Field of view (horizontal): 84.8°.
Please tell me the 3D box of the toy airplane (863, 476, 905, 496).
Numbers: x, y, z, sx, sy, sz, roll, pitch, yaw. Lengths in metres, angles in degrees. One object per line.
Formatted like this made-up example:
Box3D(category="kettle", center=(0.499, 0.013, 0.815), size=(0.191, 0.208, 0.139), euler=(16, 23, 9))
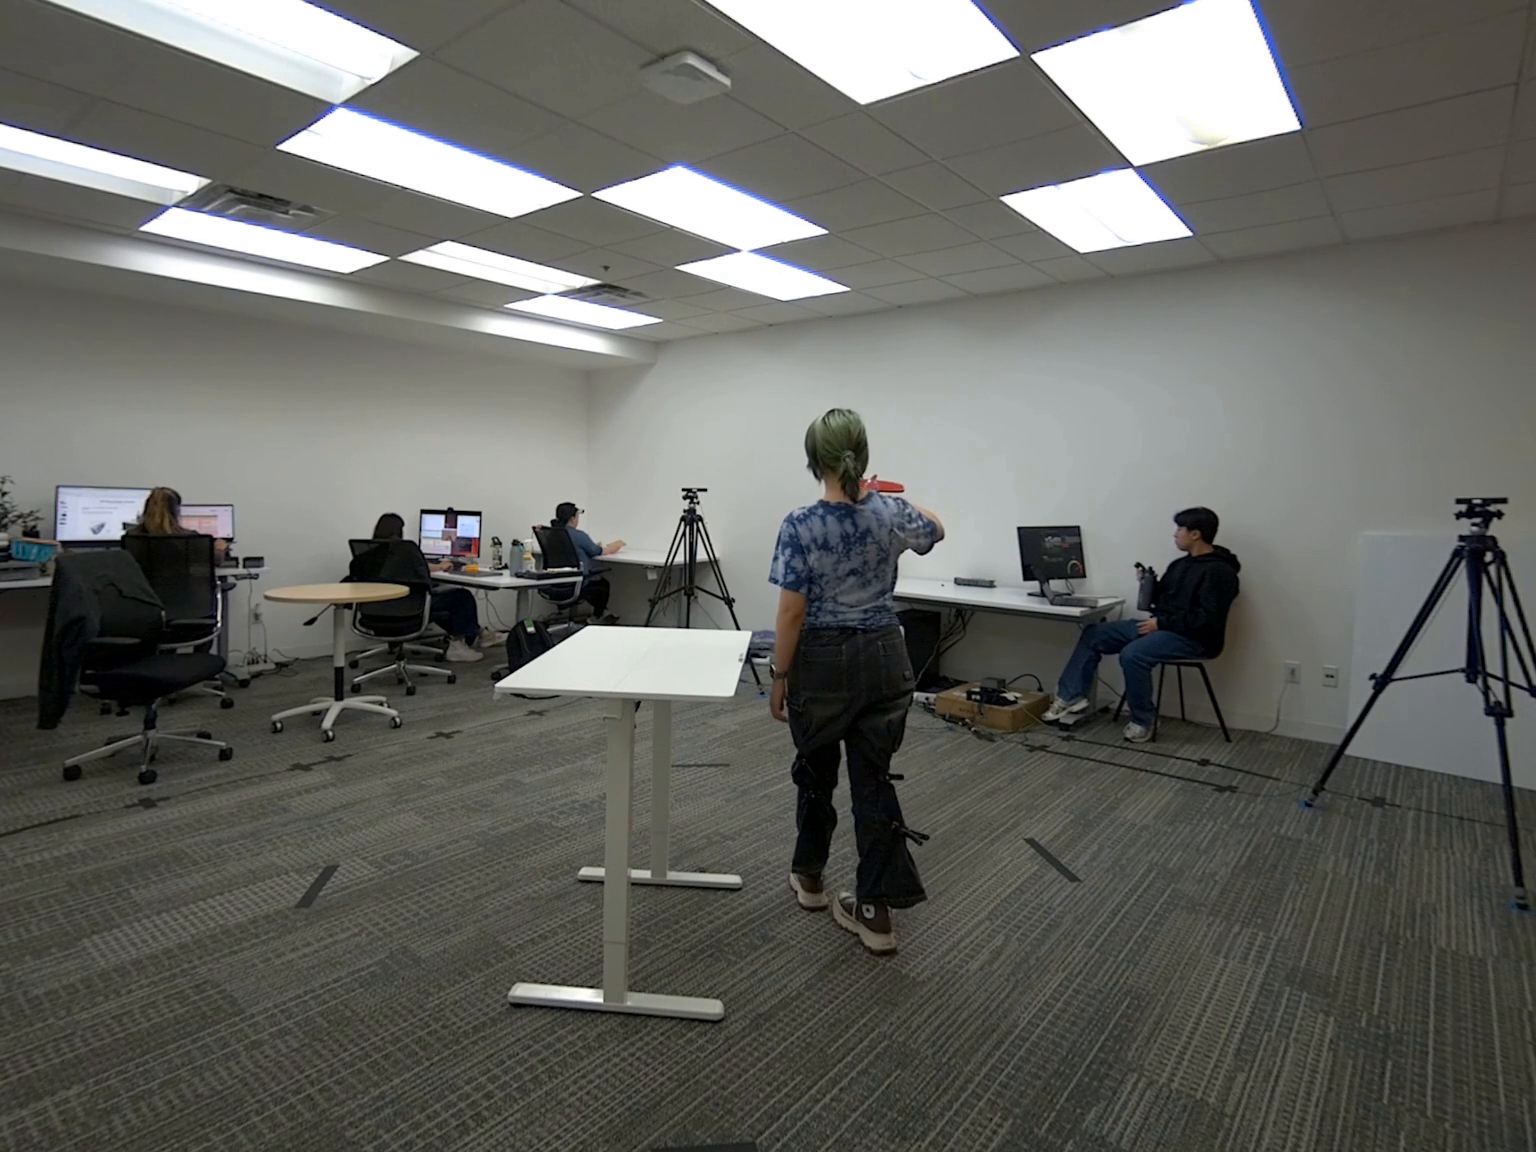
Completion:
Box3D(category="toy airplane", center=(0.401, -0.282, 3.232), size=(0.245, 0.155, 0.268), euler=(-2, 12, -28))
